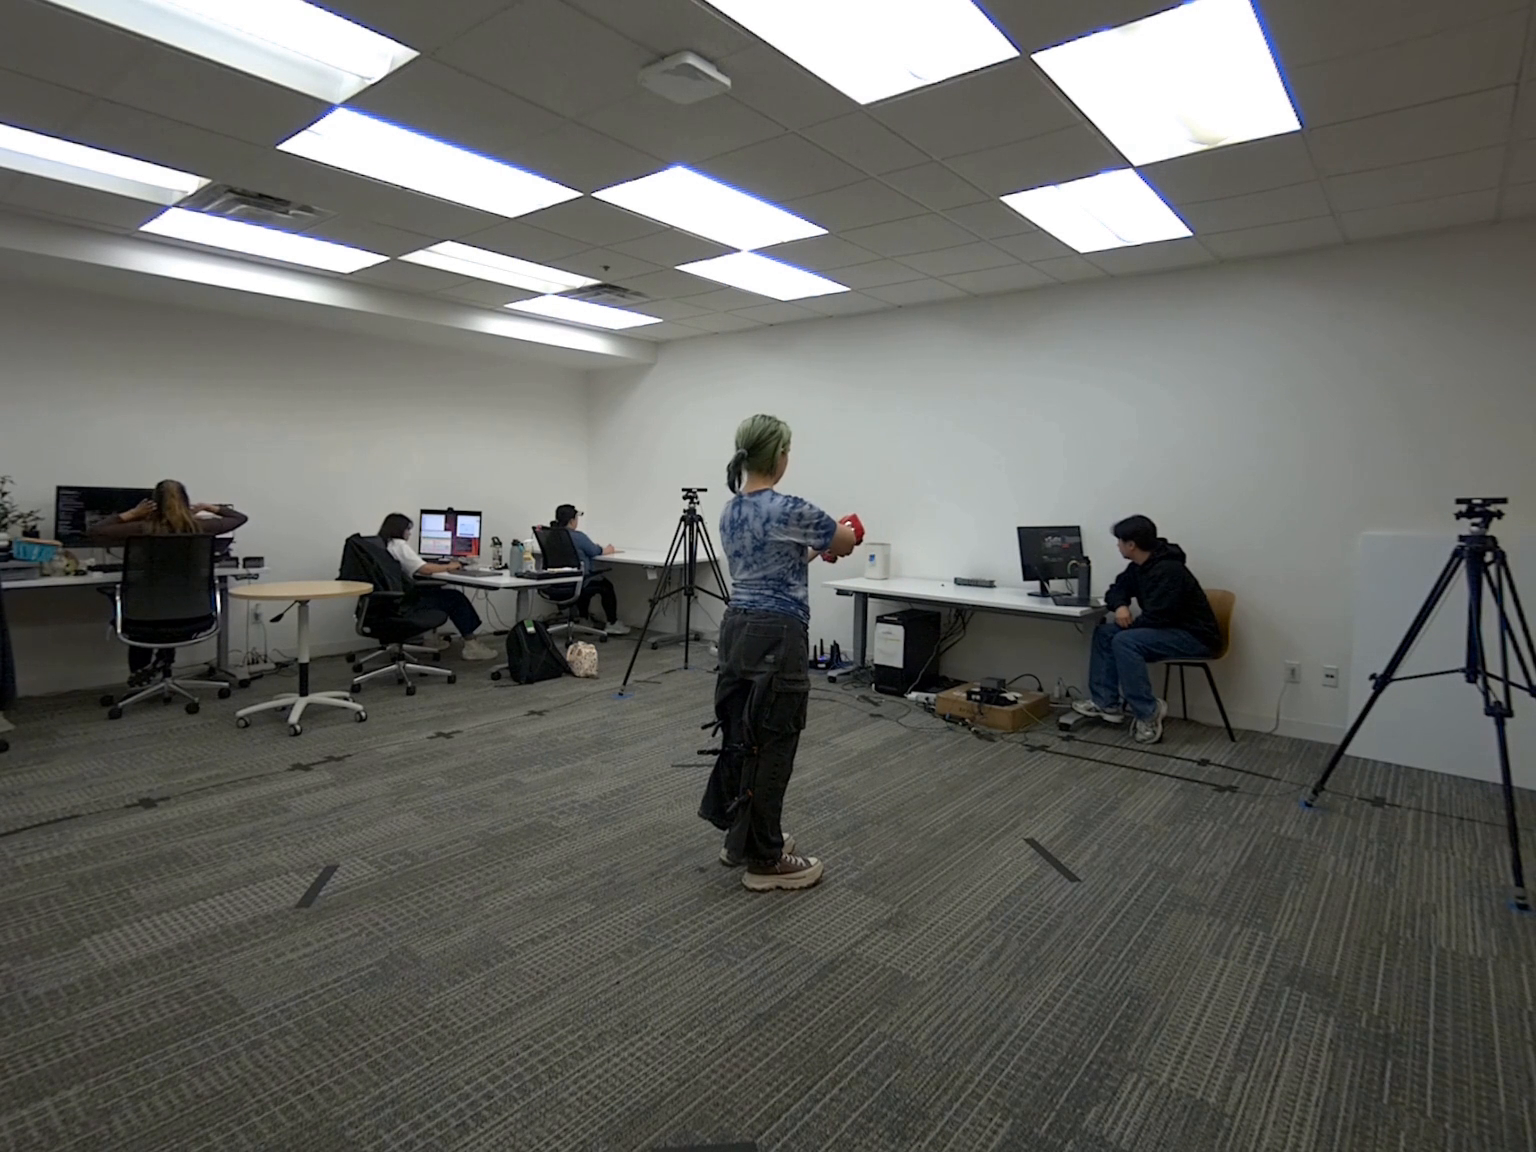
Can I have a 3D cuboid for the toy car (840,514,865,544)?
[{"bbox_3d":[0.289,-0.155,3.376,0.081,0.133,0.255,-9,-22,-35],"label":"toy car"}]
